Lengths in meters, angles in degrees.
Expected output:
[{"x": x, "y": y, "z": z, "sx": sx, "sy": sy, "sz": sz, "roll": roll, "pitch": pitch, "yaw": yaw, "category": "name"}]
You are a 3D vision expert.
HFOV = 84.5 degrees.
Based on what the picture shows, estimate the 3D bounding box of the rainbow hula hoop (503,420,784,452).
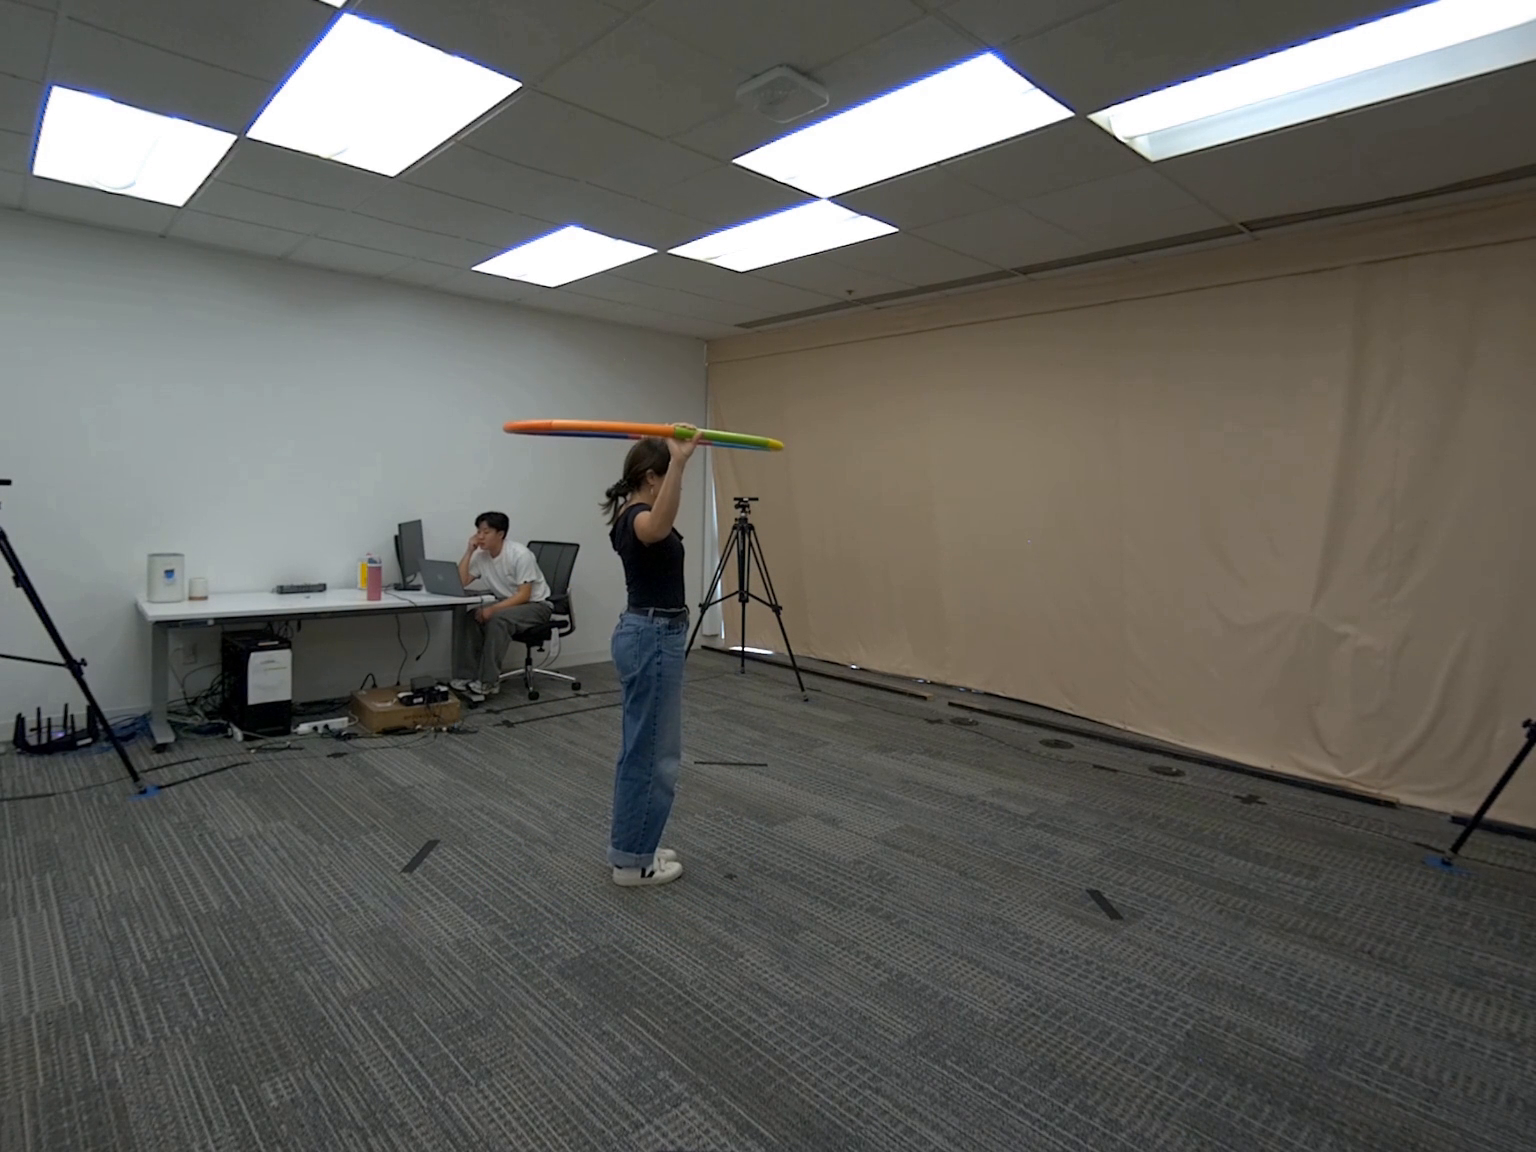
[{"x": -0.438, "y": -0.498, "z": 2.984, "sx": 0.978, "sy": 0.035, "sz": 0.984, "roll": 4, "pitch": 8, "yaw": -2, "category": "rainbow hula hoop"}]
